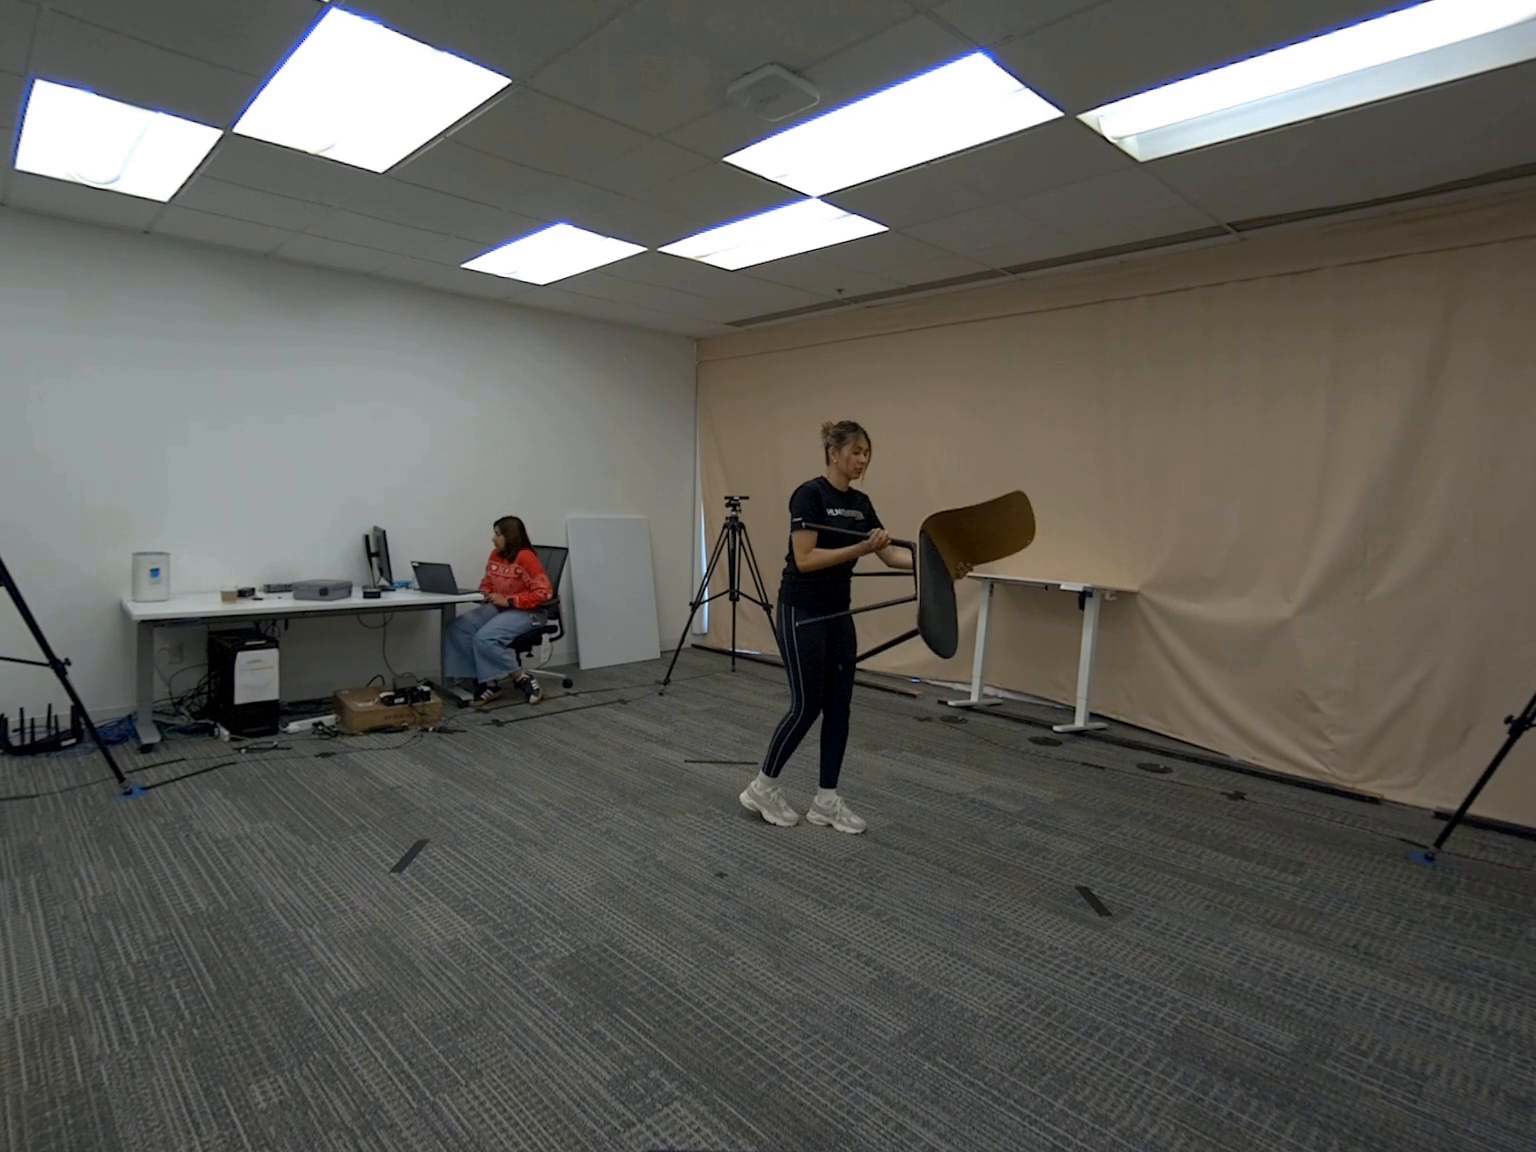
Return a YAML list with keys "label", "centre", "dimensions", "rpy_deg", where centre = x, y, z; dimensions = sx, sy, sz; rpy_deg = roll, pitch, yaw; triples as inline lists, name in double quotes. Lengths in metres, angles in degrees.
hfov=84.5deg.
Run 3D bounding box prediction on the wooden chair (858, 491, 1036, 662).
- label: "wooden chair"
  centre: [0.597, 0.050, 3.243]
  dimensions: [0.889, 0.533, 0.463]
  rpy_deg: [-13, -34, 24]
